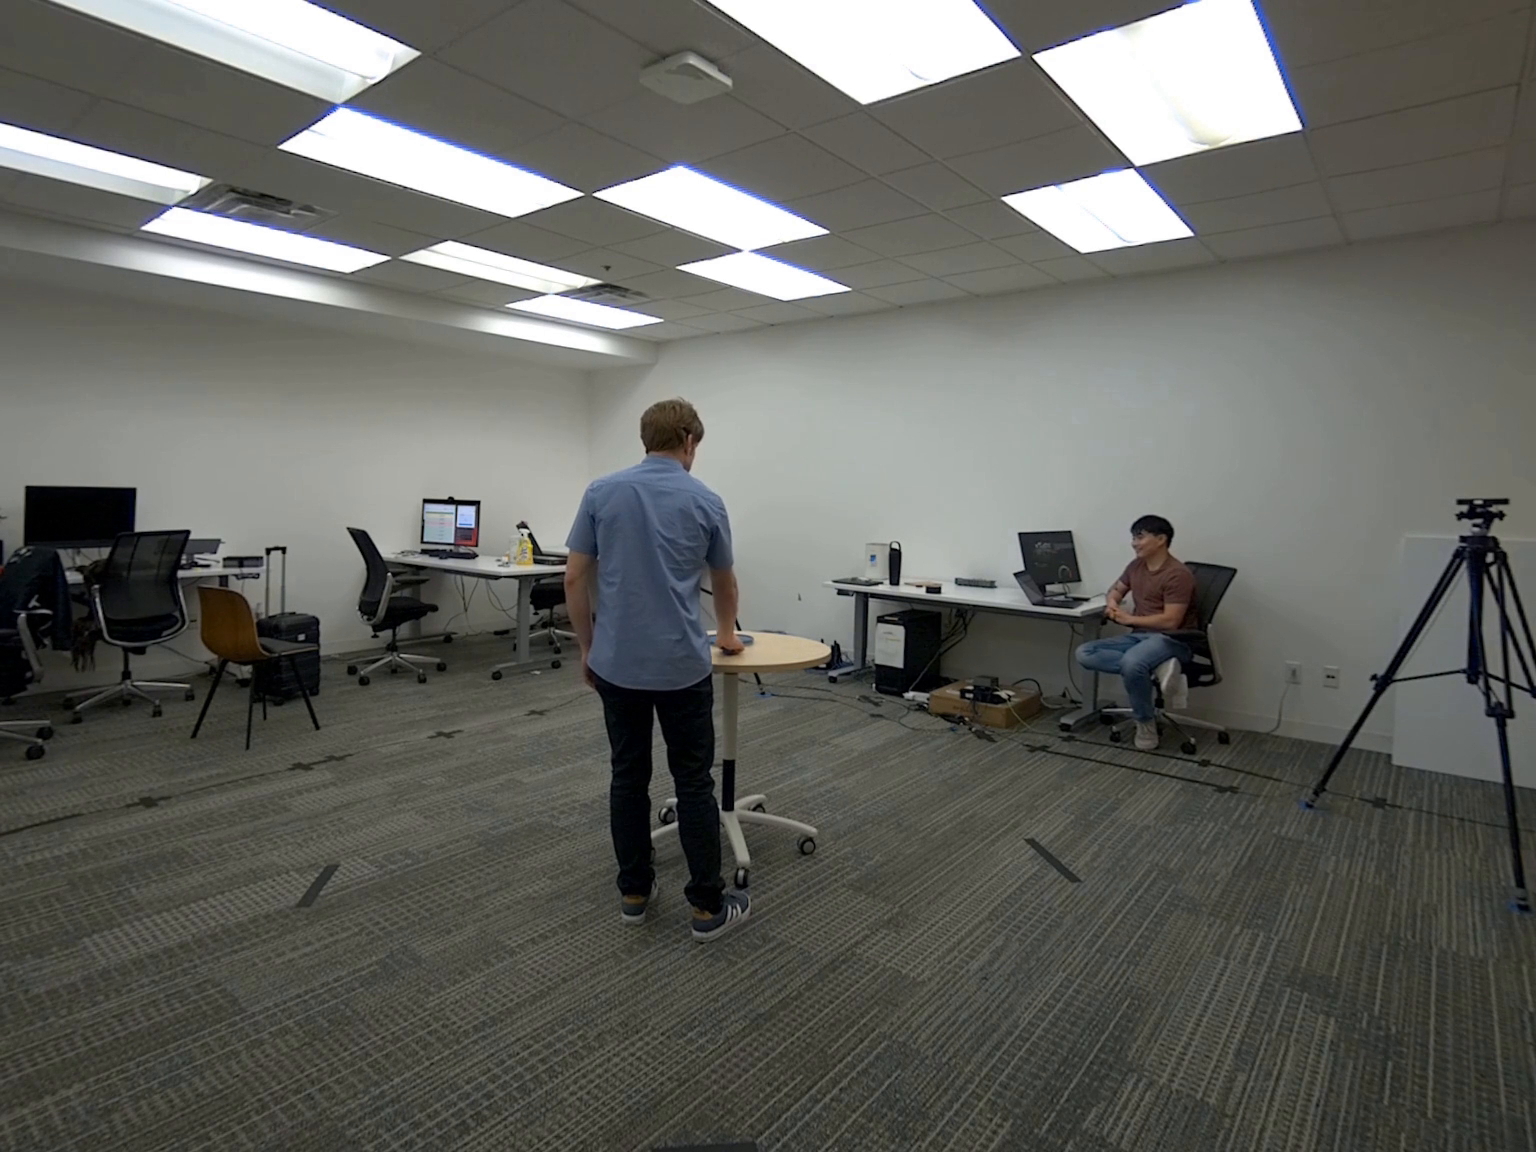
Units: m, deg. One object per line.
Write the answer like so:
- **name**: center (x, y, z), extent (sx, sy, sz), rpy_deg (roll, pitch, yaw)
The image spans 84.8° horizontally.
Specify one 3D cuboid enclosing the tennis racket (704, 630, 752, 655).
- **tennis racket**: center (-0.176, 0.257, 3.309), extent (0.214, 0.032, 0.434), rpy_deg (0, 4, -1)
